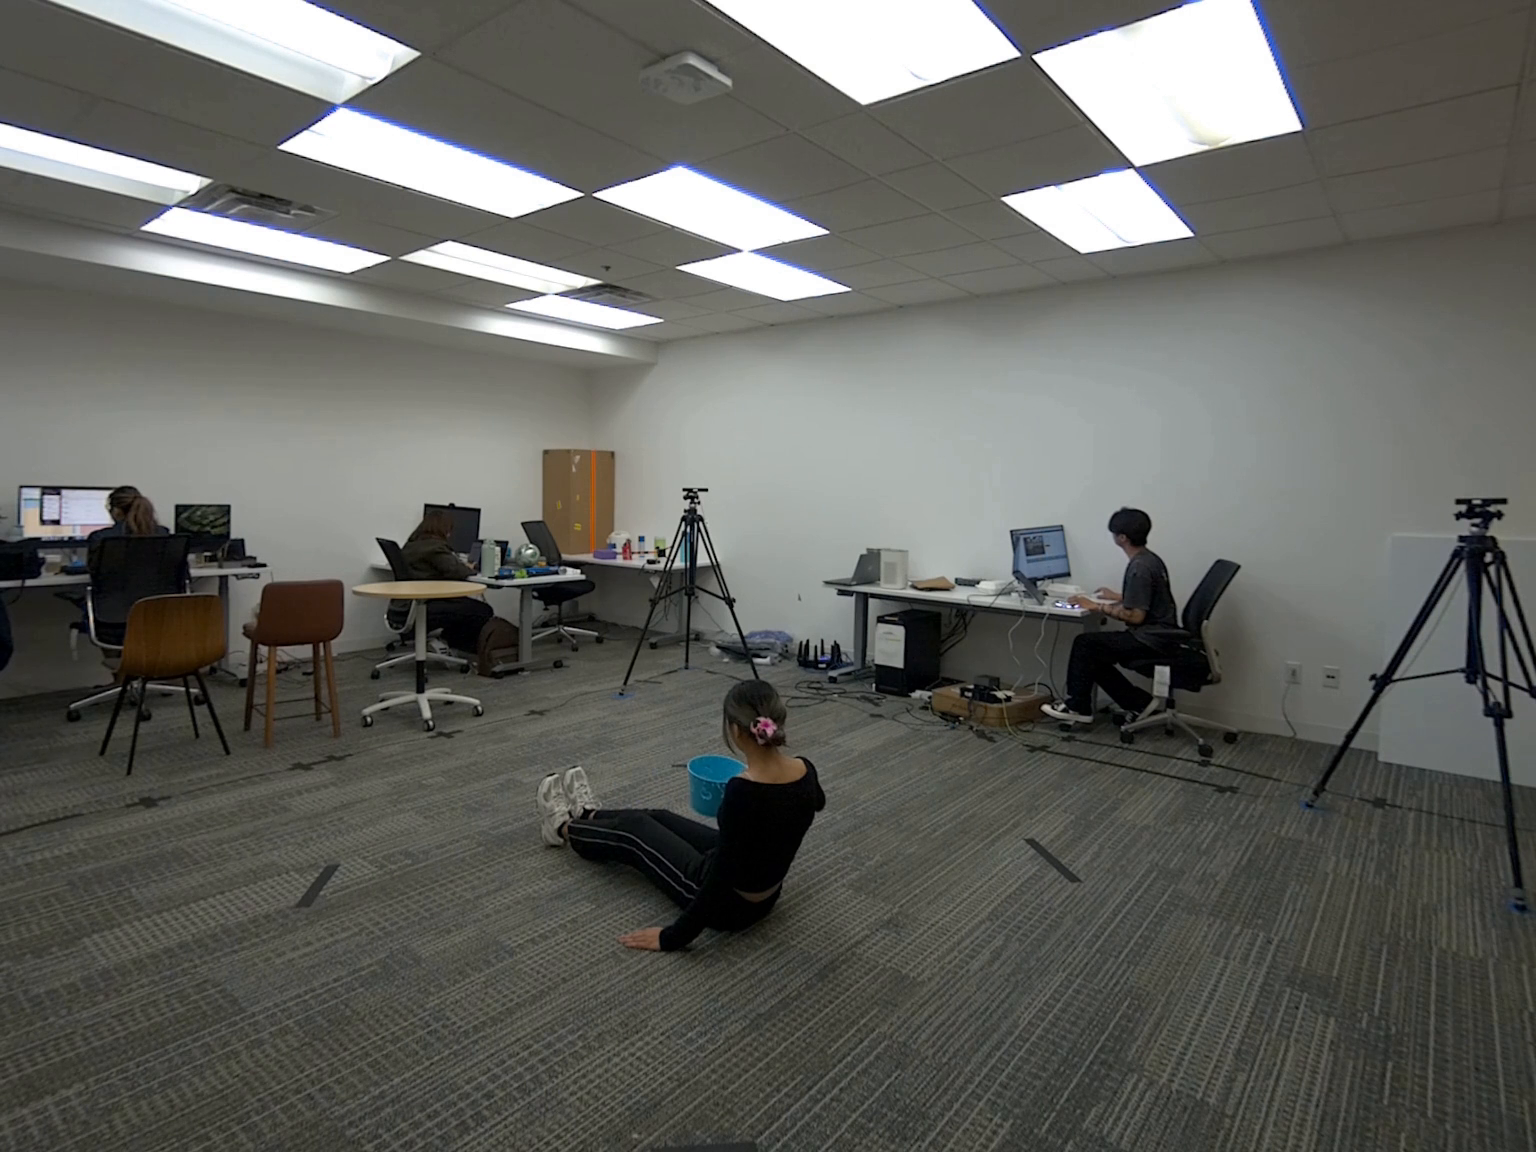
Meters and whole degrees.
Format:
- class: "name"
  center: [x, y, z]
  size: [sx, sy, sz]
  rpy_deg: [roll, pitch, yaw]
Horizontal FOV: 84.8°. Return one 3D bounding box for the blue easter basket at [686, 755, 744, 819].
- class: "blue easter basket"
  center: [-0.196, 0.801, 3.197]
  size: [0.243, 0.155, 0.246]
  rpy_deg: [5, 10, -3]
